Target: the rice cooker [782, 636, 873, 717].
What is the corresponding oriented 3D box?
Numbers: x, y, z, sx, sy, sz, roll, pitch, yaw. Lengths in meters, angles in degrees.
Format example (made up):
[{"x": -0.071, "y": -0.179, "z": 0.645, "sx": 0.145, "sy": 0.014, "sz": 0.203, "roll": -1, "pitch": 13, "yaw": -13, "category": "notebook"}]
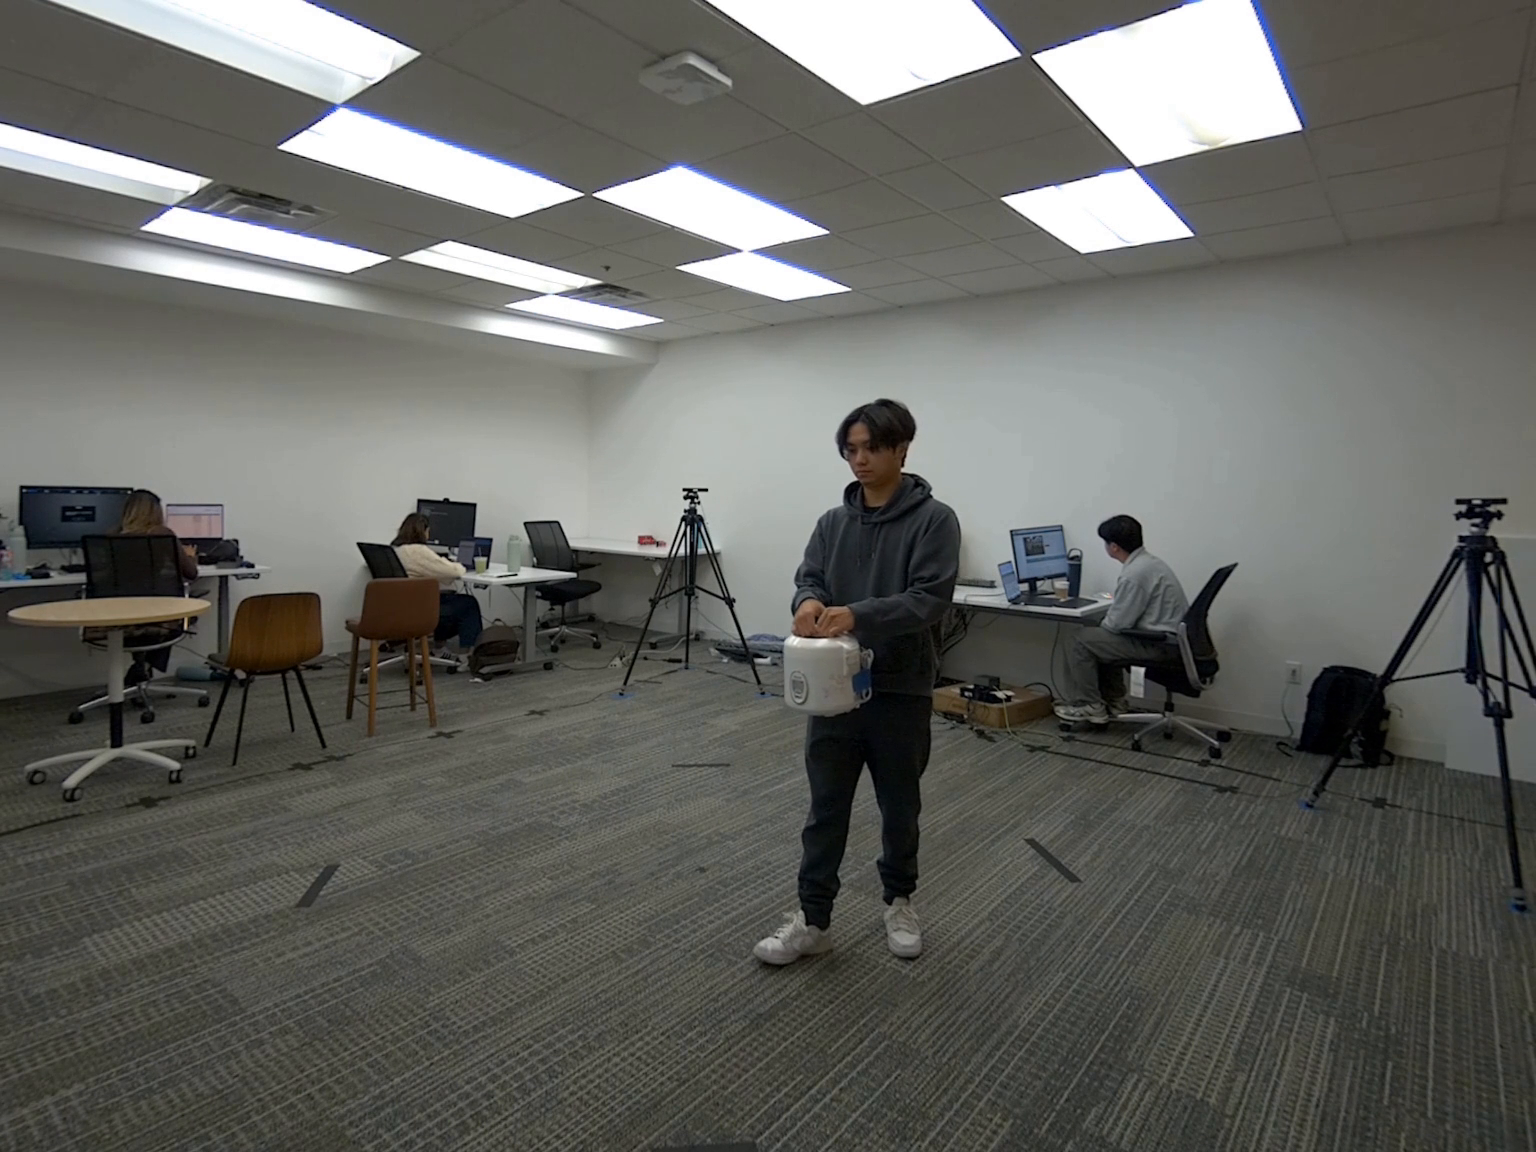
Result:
[{"x": 0.141, "y": 0.248, "z": 2.330, "sx": 0.228, "sy": 0.232, "sz": 0.211, "roll": 1, "pitch": 5, "yaw": 44, "category": "rice cooker"}]
